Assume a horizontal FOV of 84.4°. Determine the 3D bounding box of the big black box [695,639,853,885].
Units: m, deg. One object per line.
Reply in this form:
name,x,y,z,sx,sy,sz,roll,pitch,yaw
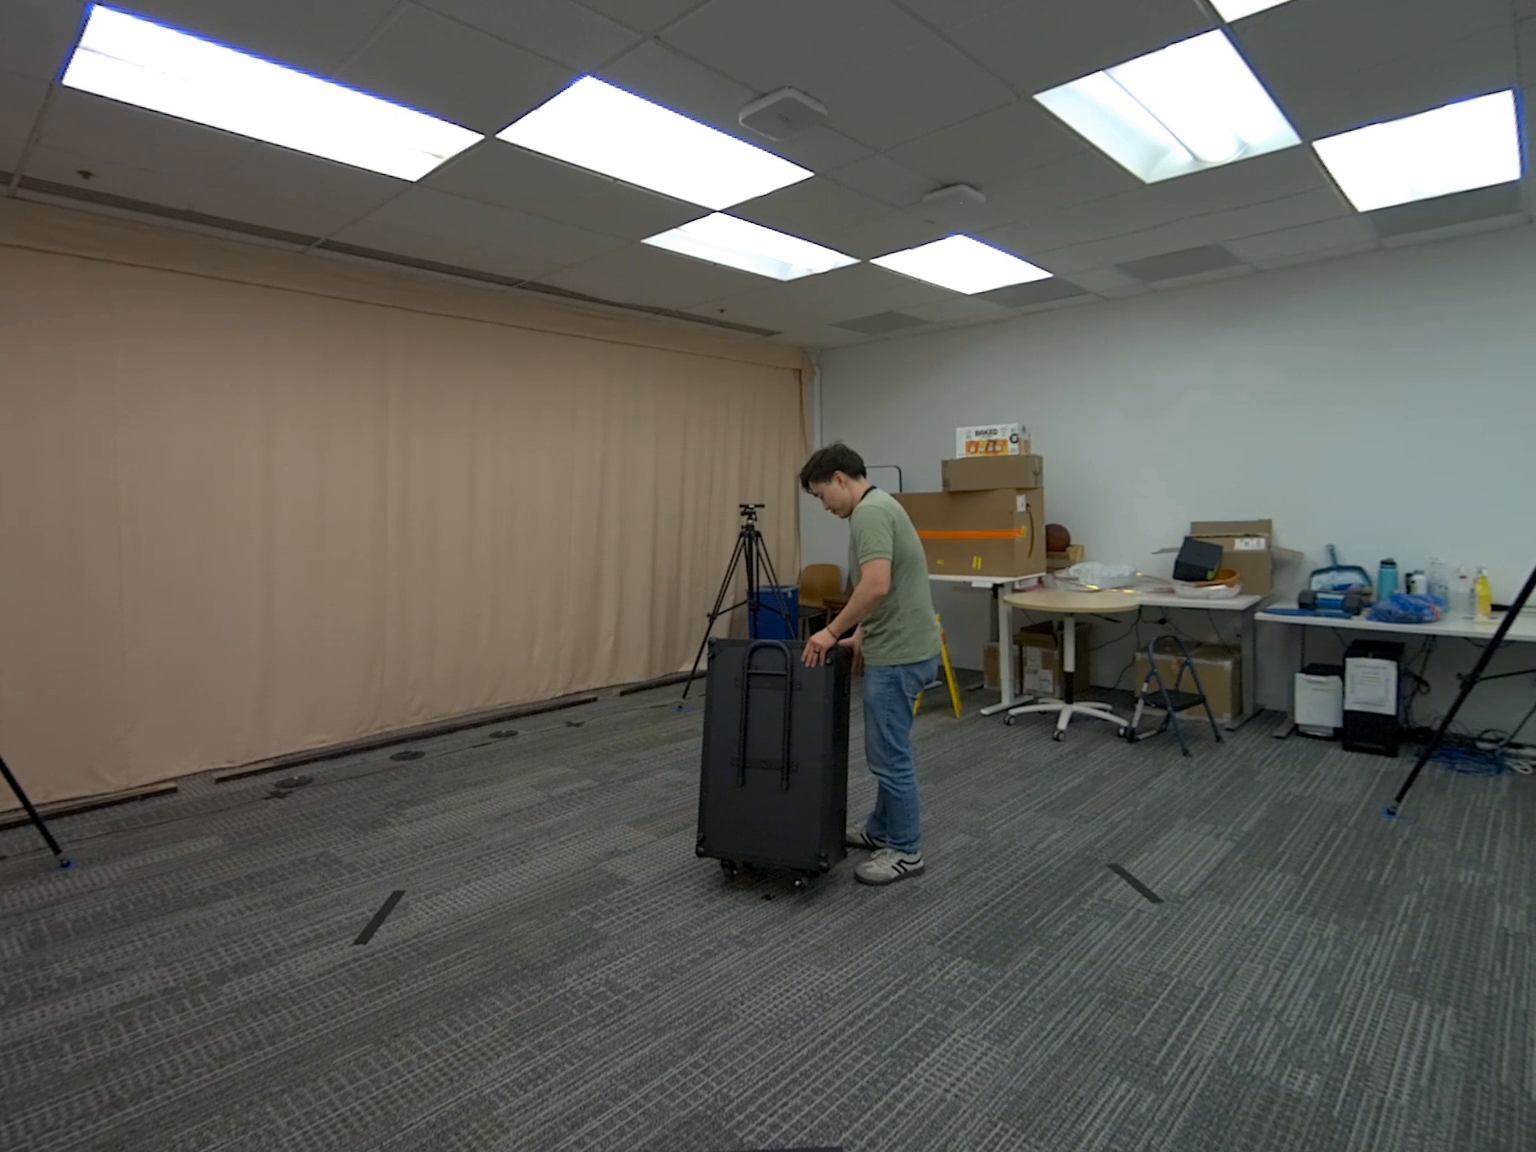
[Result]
big black box,0.040,0.685,3.145,0.531,0.866,0.386,0,-10,18
